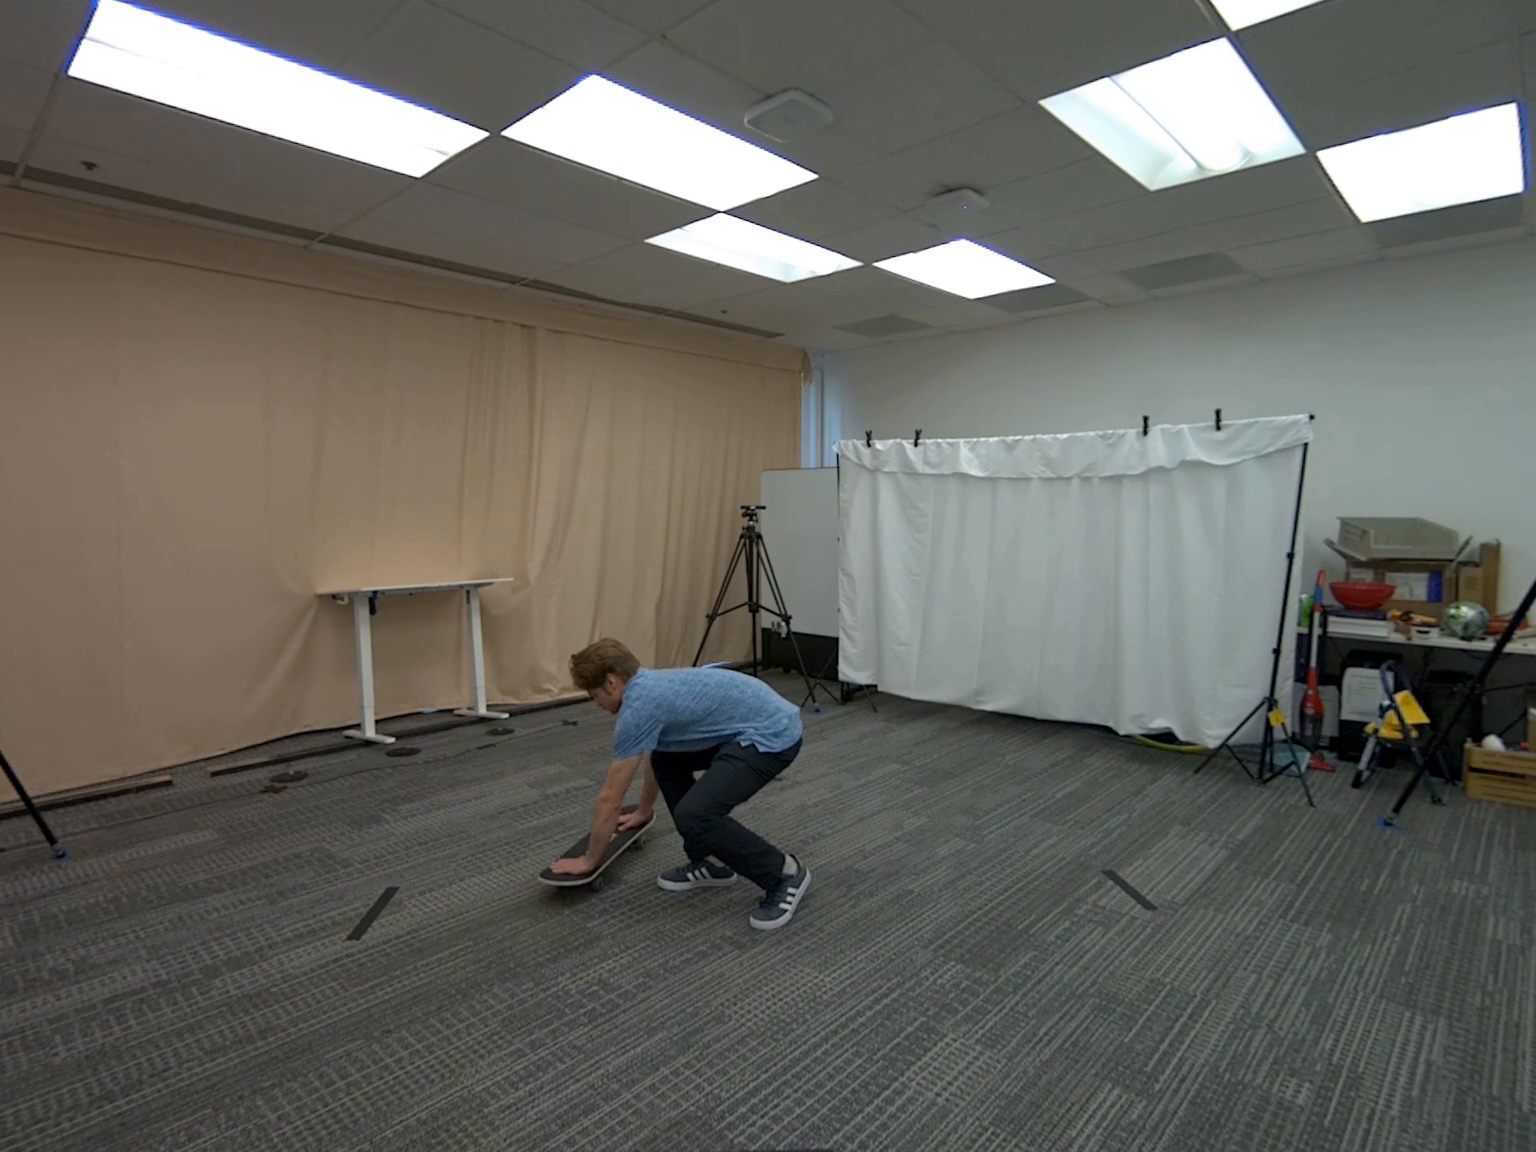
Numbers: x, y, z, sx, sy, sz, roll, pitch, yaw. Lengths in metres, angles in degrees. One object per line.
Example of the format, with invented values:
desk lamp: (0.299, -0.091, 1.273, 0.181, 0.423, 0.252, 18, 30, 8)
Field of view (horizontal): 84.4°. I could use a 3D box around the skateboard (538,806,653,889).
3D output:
skateboard: (-0.639, 1.067, 3.266, 0.197, 0.110, 0.774, -1, 4, 15)
